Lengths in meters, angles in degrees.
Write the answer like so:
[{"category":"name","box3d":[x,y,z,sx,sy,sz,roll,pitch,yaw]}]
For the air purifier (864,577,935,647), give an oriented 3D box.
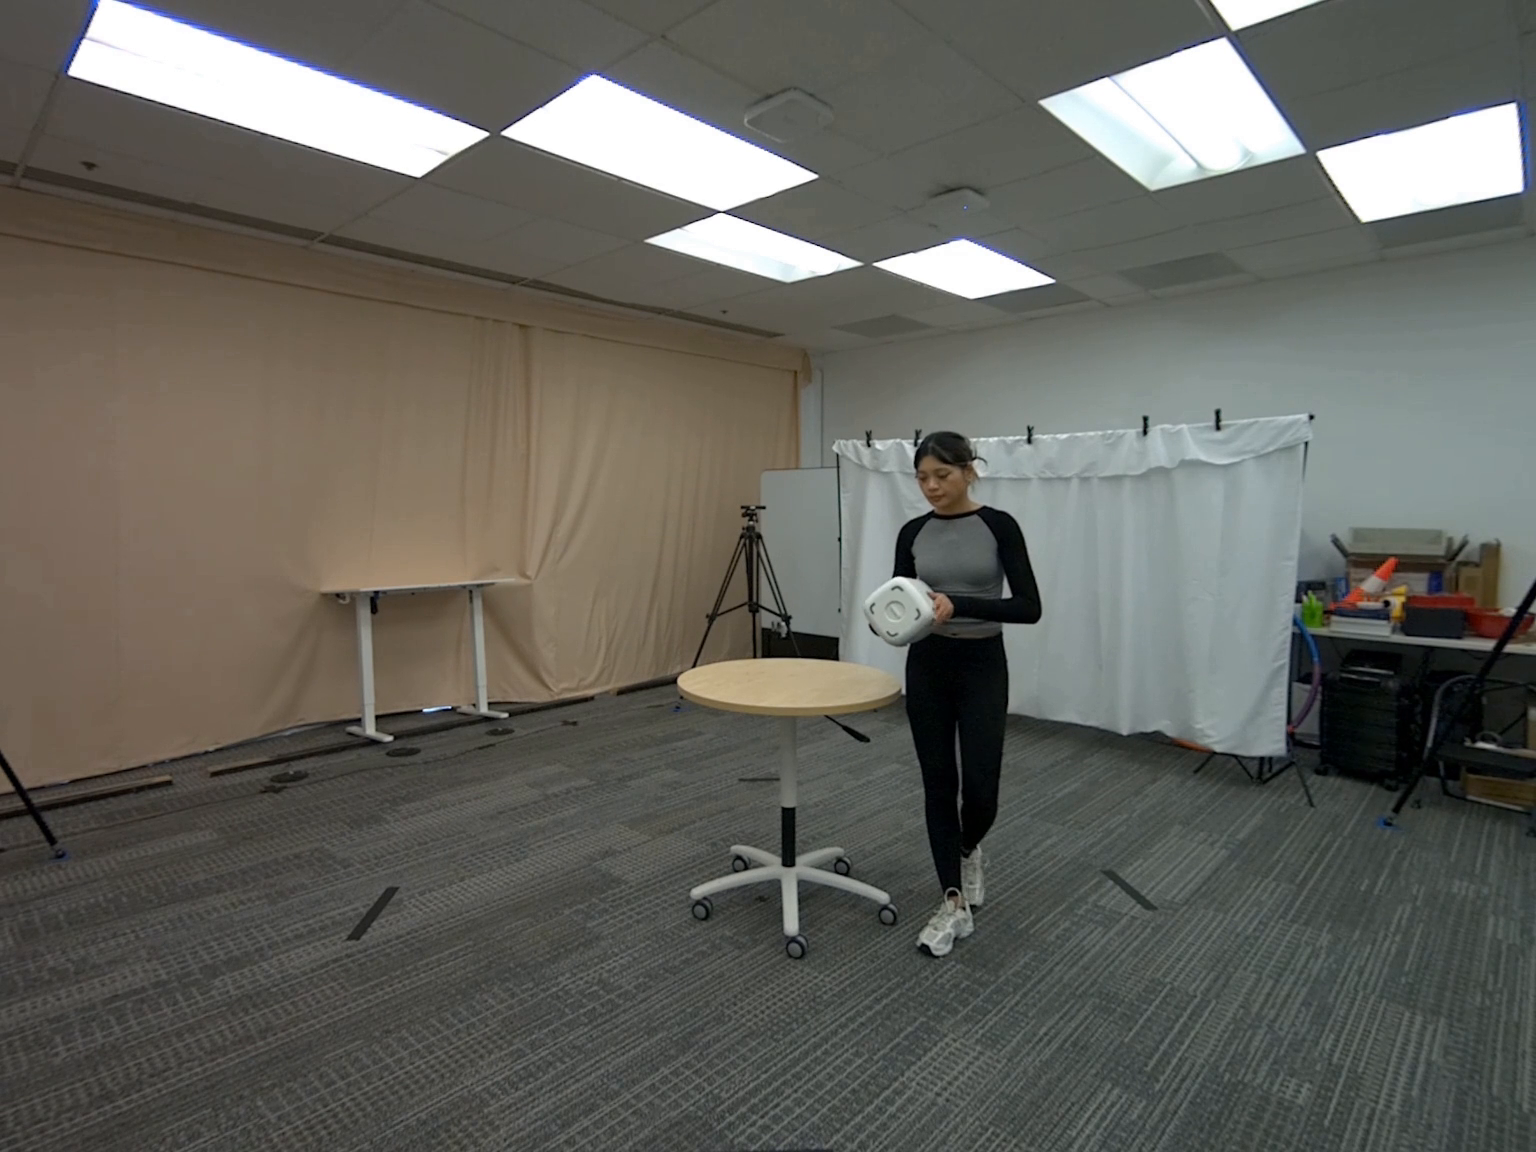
[{"category":"air purifier","box3d":[0.410,0.105,2.538,0.172,0.175,0.259,-41,-17,16]}]
